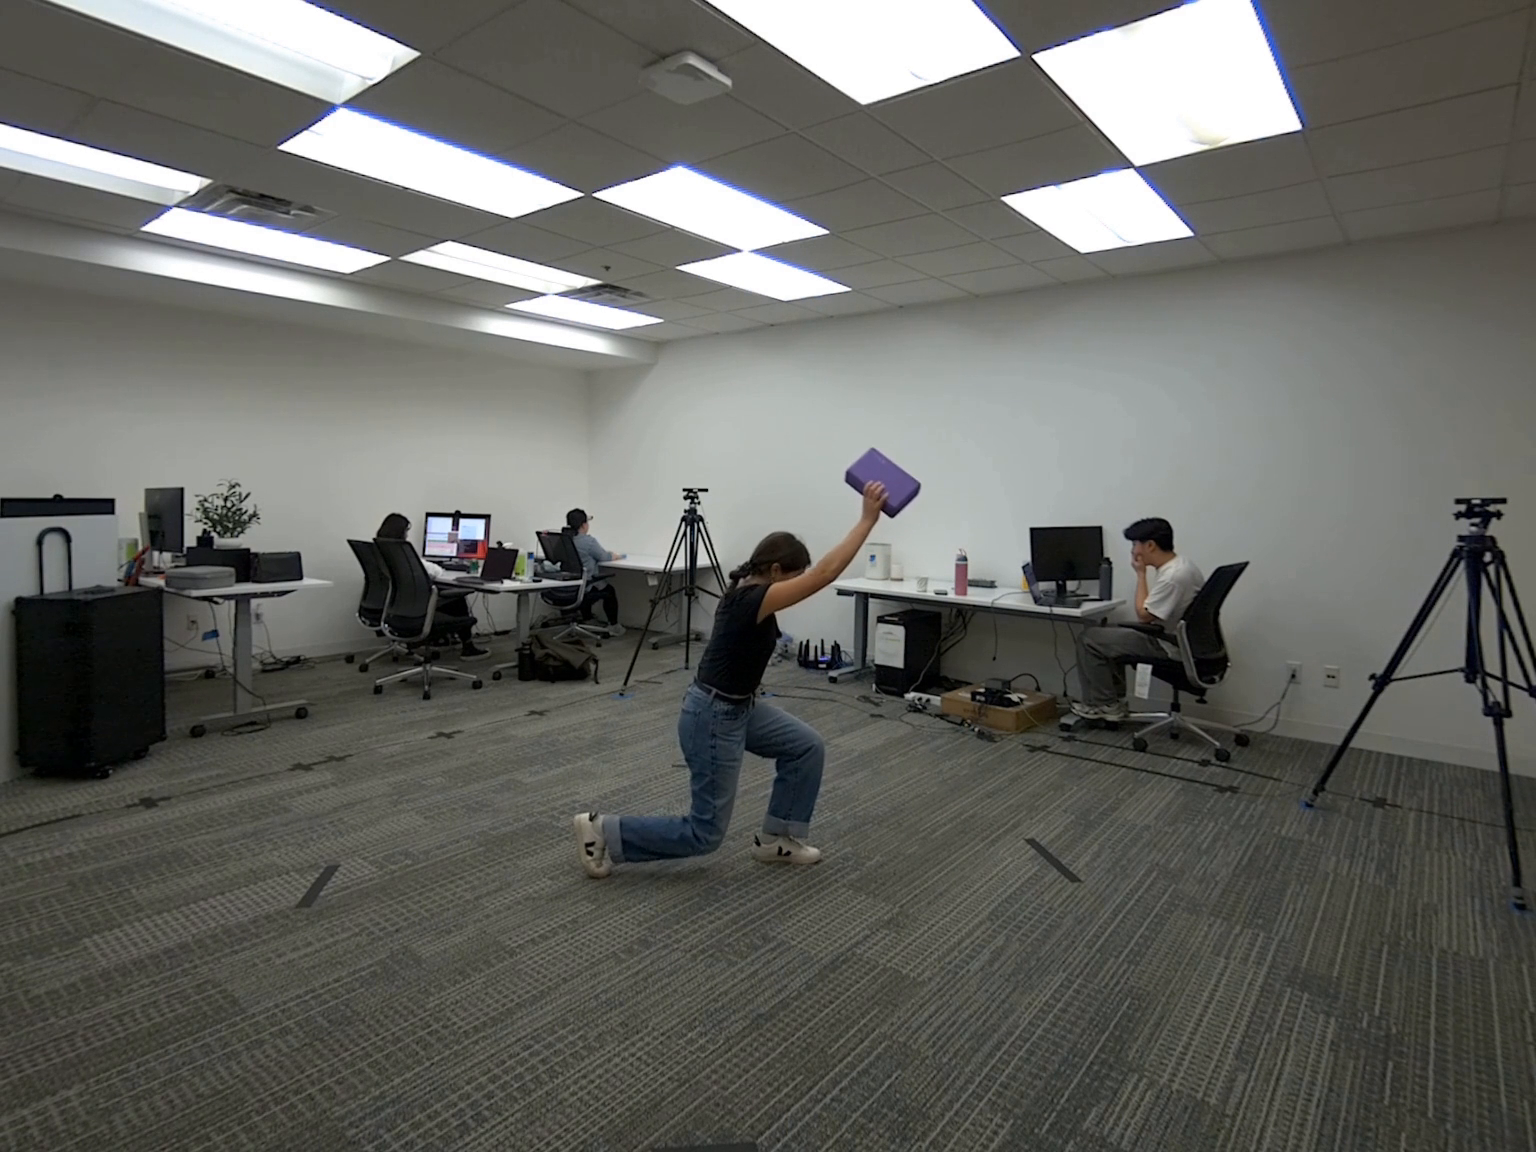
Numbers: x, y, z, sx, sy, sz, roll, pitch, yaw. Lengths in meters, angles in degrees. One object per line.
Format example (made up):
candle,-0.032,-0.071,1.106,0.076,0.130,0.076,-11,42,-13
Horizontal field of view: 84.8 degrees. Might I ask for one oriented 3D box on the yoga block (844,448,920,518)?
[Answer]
yoga block,0.417,-0.325,2.988,0.236,0.148,0.074,42,-18,20
